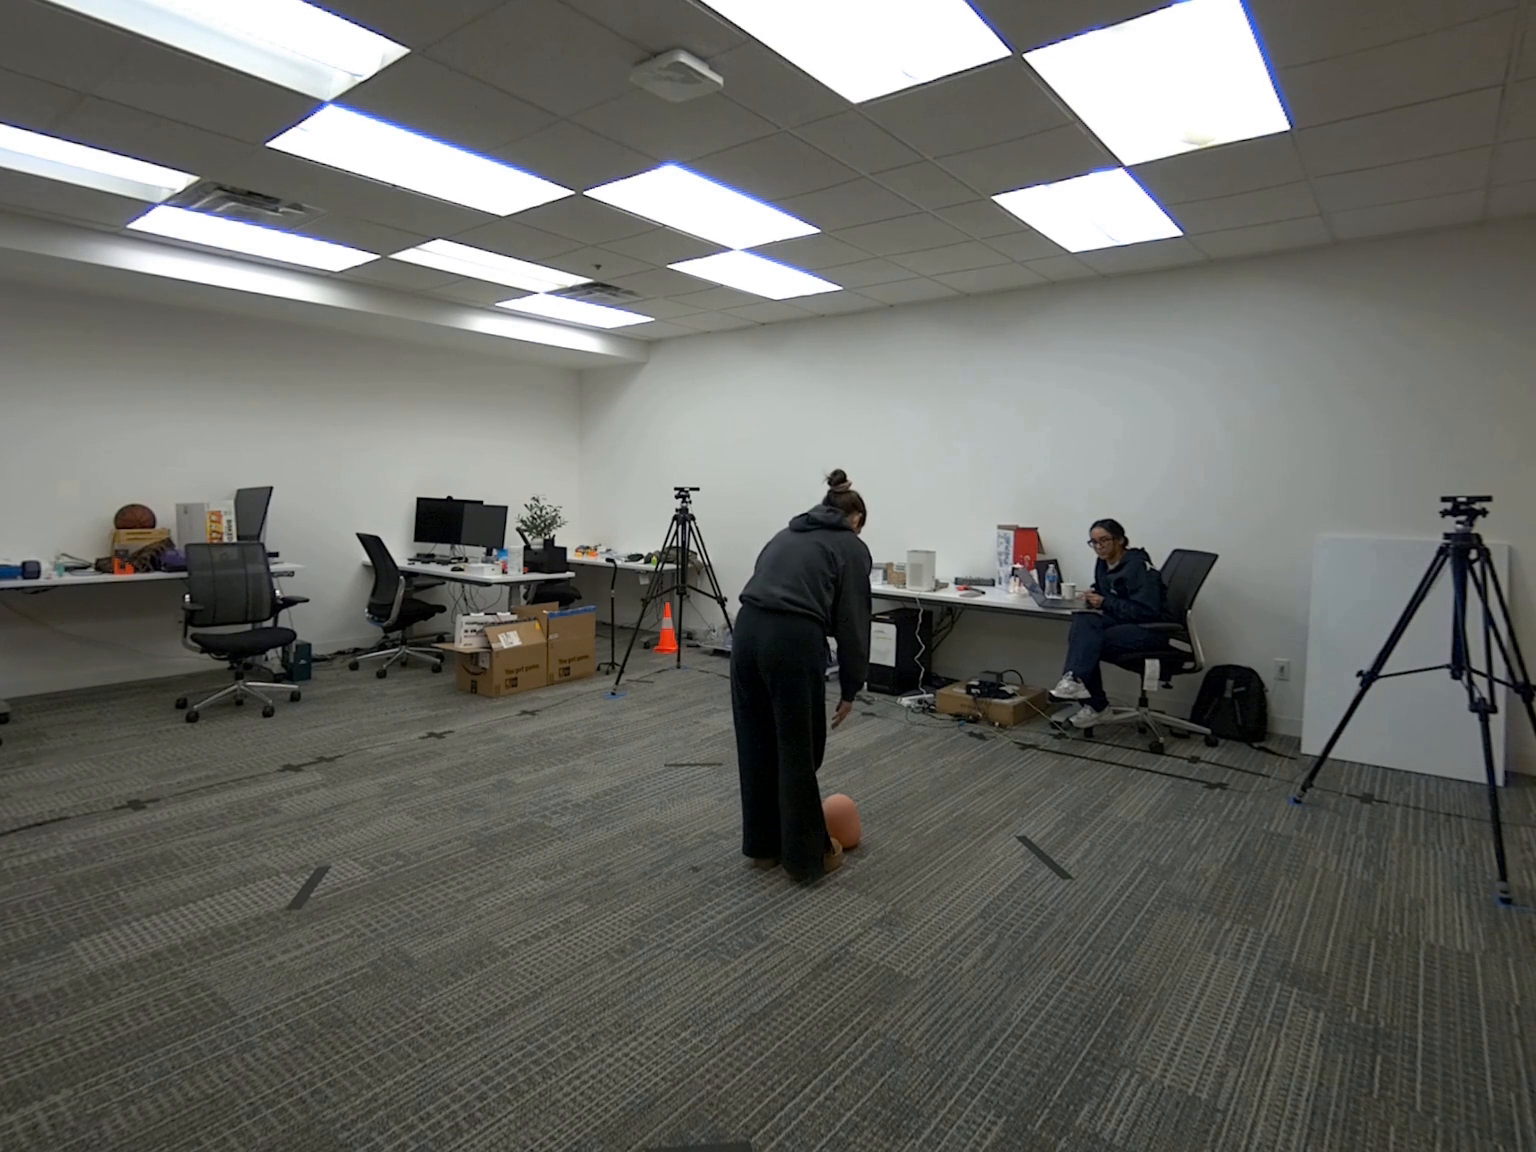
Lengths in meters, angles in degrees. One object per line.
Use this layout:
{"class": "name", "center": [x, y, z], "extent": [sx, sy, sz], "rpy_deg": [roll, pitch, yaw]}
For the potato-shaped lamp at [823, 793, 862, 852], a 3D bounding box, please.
{"class": "potato-shaped lamp", "center": [0.279, 0.949, 3.347], "extent": [0.170, 0.197, 0.167], "rpy_deg": [3, 5, 32]}
